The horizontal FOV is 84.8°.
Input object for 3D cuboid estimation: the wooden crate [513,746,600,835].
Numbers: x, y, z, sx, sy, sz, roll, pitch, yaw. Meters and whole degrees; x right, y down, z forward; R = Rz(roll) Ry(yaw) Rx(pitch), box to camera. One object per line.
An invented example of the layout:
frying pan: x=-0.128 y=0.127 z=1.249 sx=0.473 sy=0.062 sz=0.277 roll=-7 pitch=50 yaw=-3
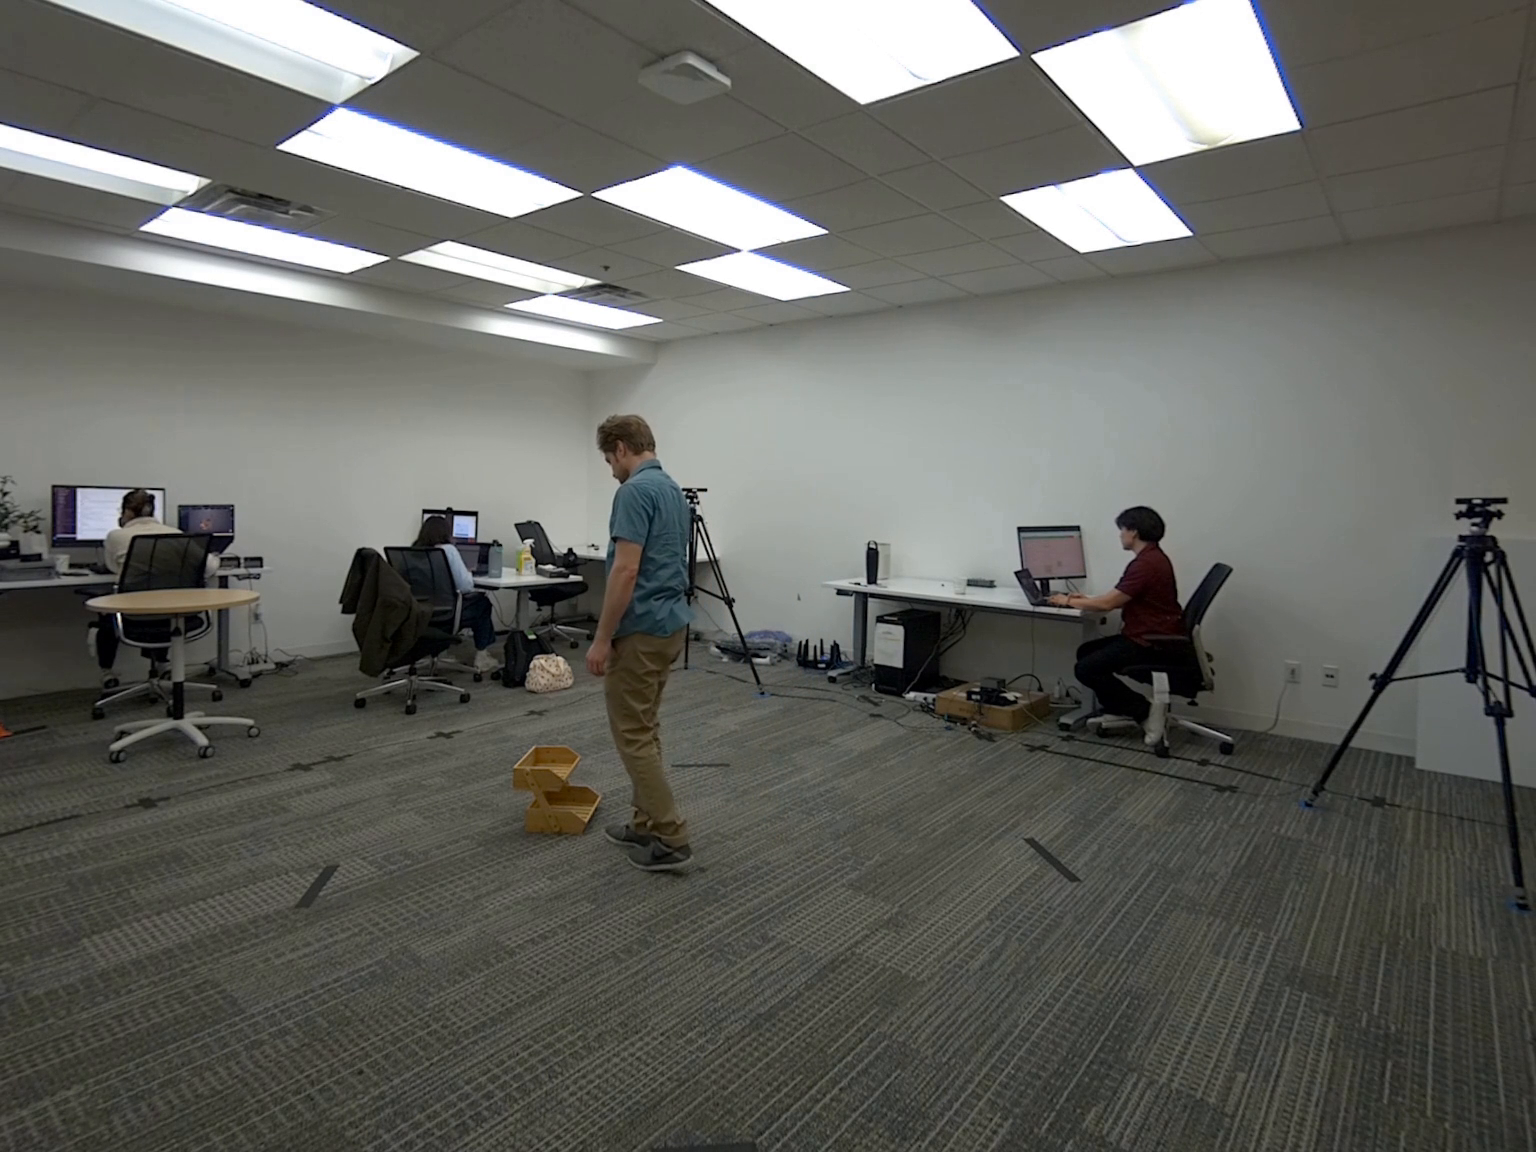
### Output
wooden crate: x=-0.882 y=0.879 z=3.565 sx=0.303 sy=0.272 sz=0.325 roll=0 pitch=4 yaw=1
